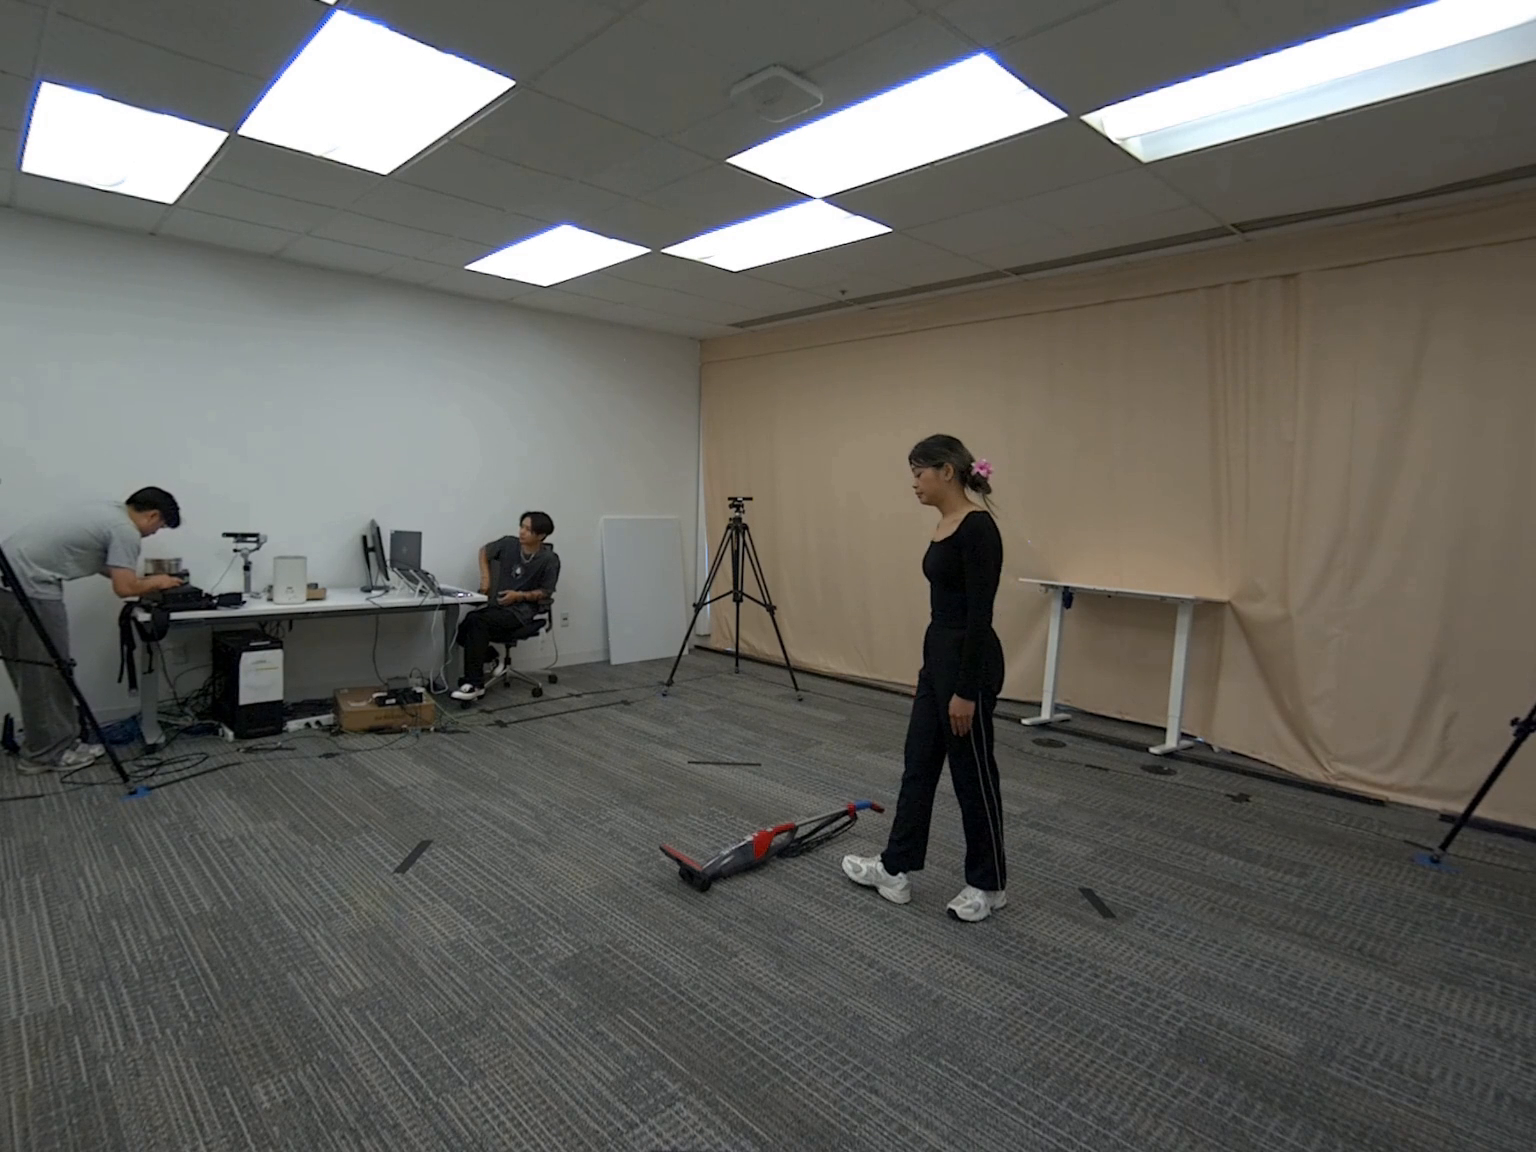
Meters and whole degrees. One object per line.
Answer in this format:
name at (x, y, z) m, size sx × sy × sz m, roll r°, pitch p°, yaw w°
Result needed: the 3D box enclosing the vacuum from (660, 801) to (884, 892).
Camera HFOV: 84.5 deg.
vacuum at (0.094, 1.034, 3.328) m, size 1.025 × 0.143 × 0.259 m, roll -2°, pitch 7°, yaw -39°
